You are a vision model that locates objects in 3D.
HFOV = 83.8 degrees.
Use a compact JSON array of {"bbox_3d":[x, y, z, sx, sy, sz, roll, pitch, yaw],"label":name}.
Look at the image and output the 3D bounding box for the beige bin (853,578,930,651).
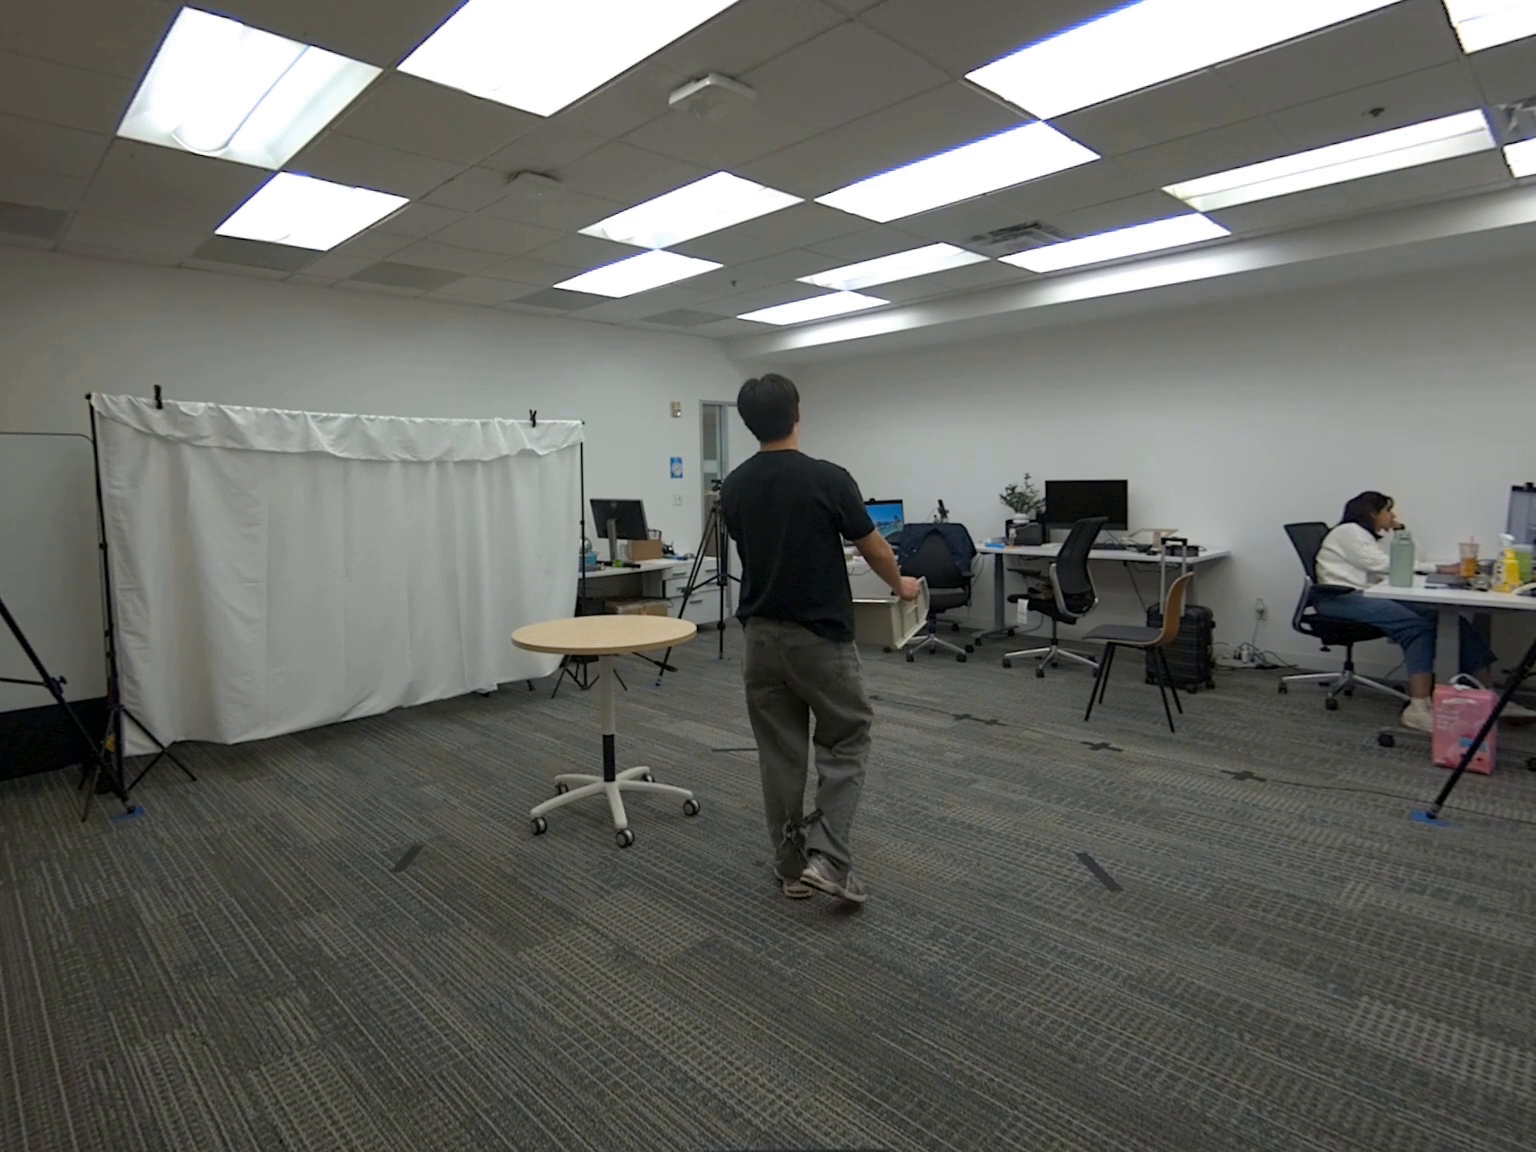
[{"bbox_3d":[0.346,0.129,3.236,0.433,0.187,0.372,1,15,30],"label":"beige bin"}]
